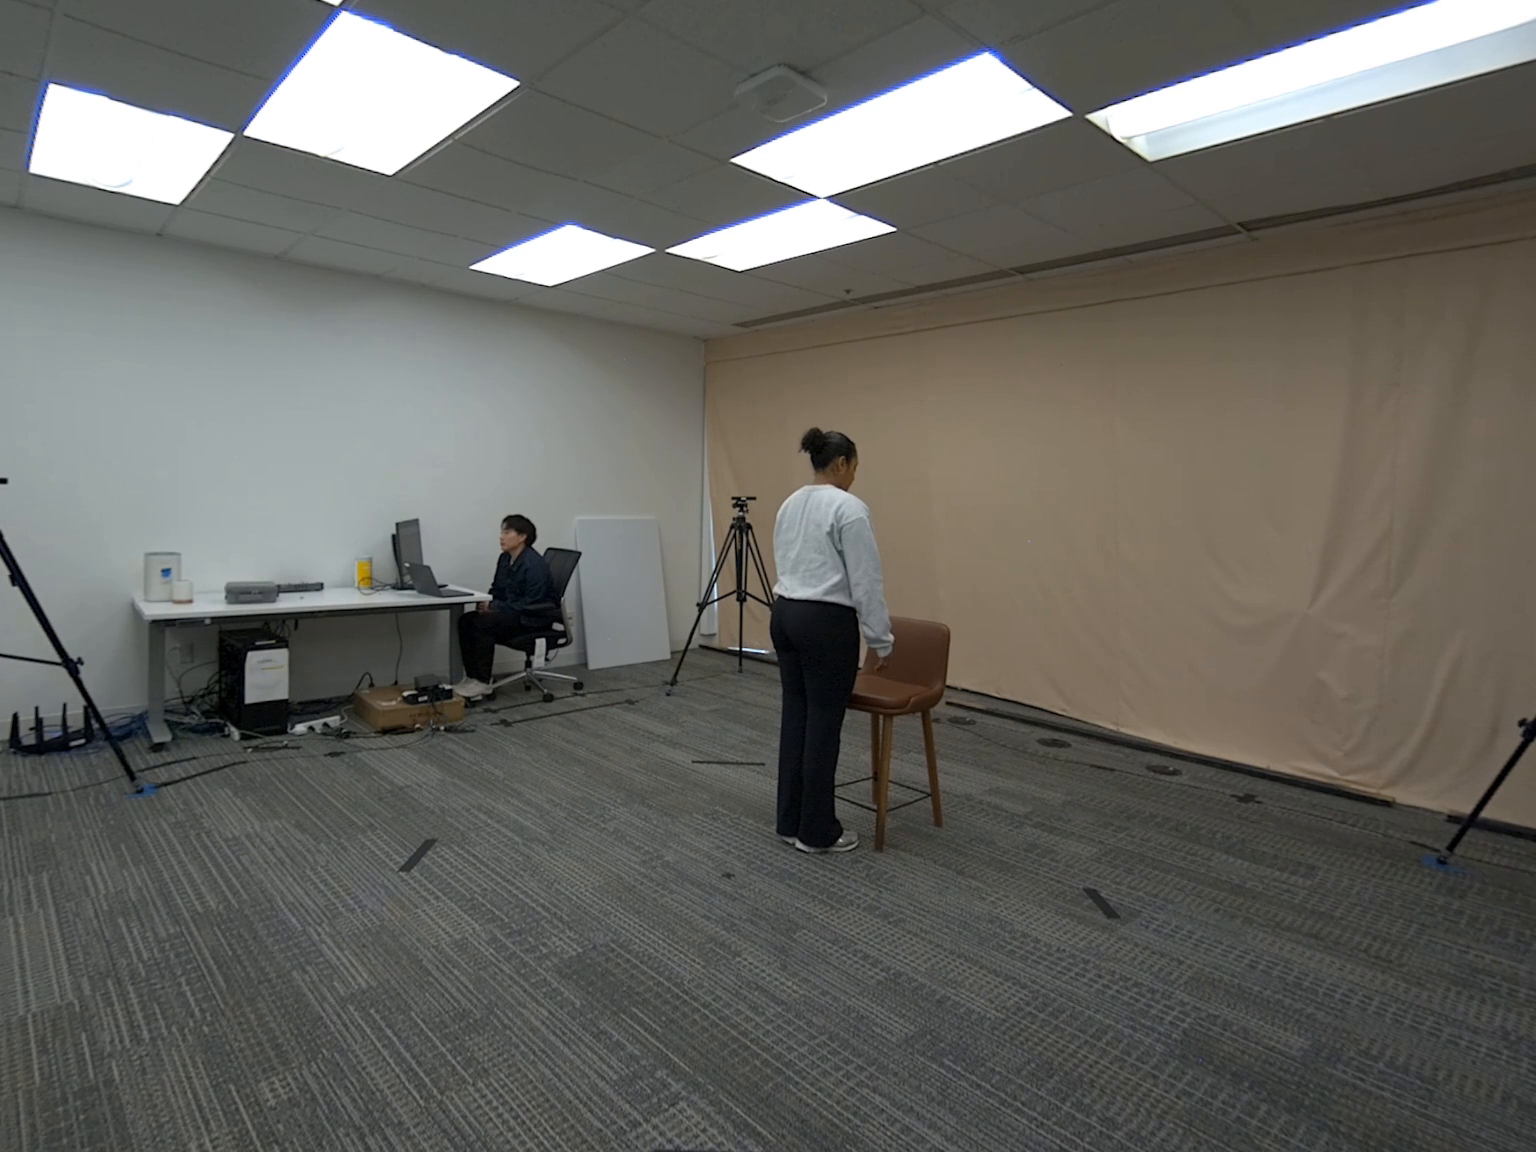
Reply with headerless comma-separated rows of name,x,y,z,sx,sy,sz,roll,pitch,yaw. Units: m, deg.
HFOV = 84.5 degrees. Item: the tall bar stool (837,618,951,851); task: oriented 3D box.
tall bar stool,0.475,0.636,3.624,0.456,0.889,0.468,1,2,-42
